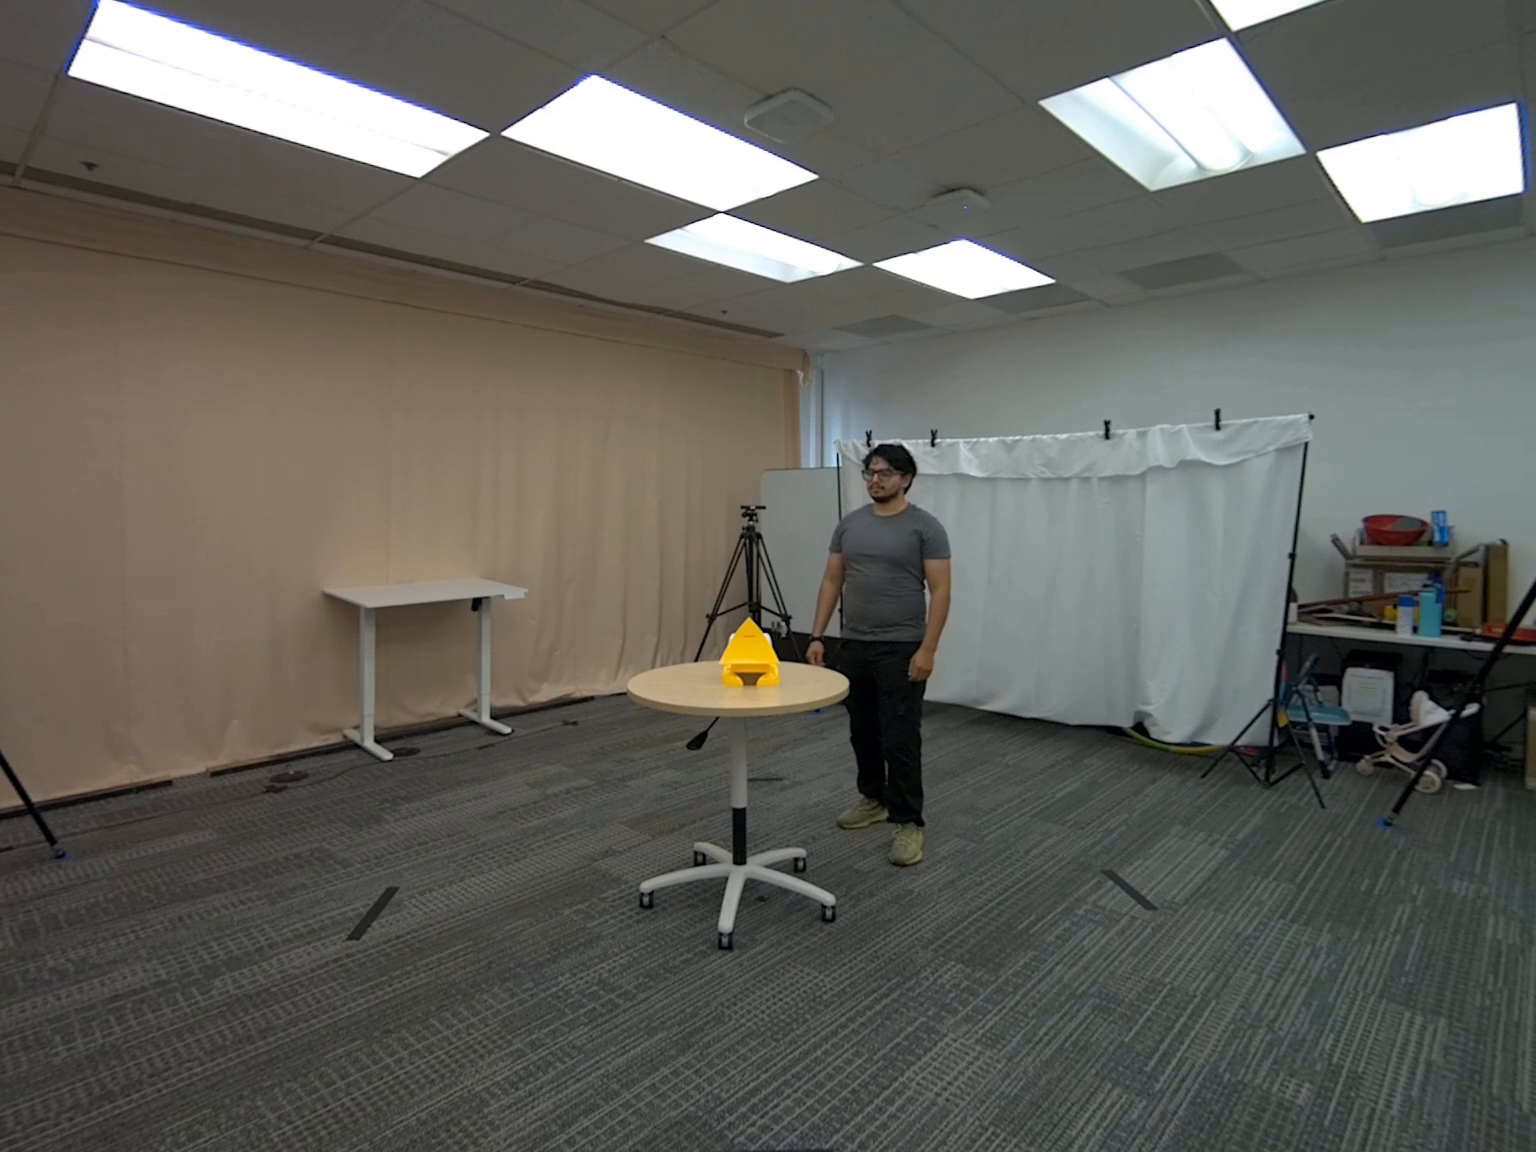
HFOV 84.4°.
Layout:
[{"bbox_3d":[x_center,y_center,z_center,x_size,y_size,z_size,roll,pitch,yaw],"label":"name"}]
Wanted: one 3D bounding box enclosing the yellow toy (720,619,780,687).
[{"bbox_3d":[-0.060,0.251,2.905,0.205,0.230,0.193,0,3,2],"label":"yellow toy"}]
